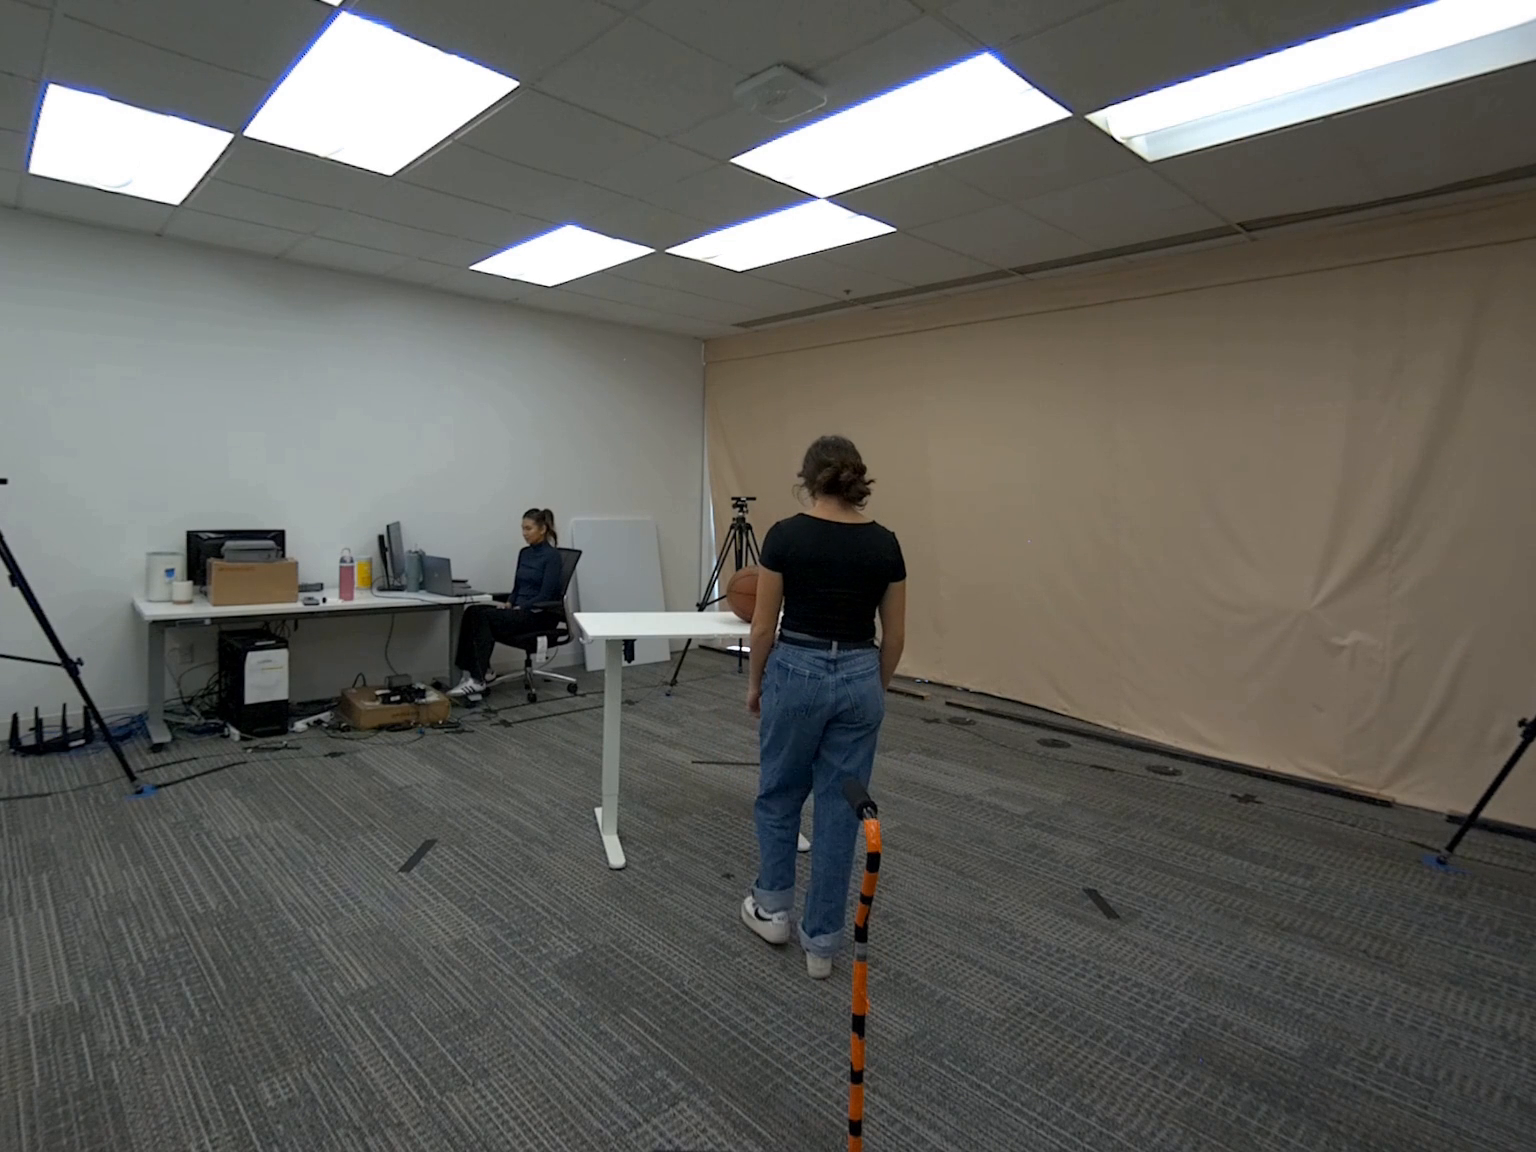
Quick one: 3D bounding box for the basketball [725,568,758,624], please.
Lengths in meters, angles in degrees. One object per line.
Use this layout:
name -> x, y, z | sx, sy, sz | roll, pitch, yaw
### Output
basketball -> -0.056, 0.071, 3.490 | 0.236, 0.235, 0.237 | 1, 4, -1
